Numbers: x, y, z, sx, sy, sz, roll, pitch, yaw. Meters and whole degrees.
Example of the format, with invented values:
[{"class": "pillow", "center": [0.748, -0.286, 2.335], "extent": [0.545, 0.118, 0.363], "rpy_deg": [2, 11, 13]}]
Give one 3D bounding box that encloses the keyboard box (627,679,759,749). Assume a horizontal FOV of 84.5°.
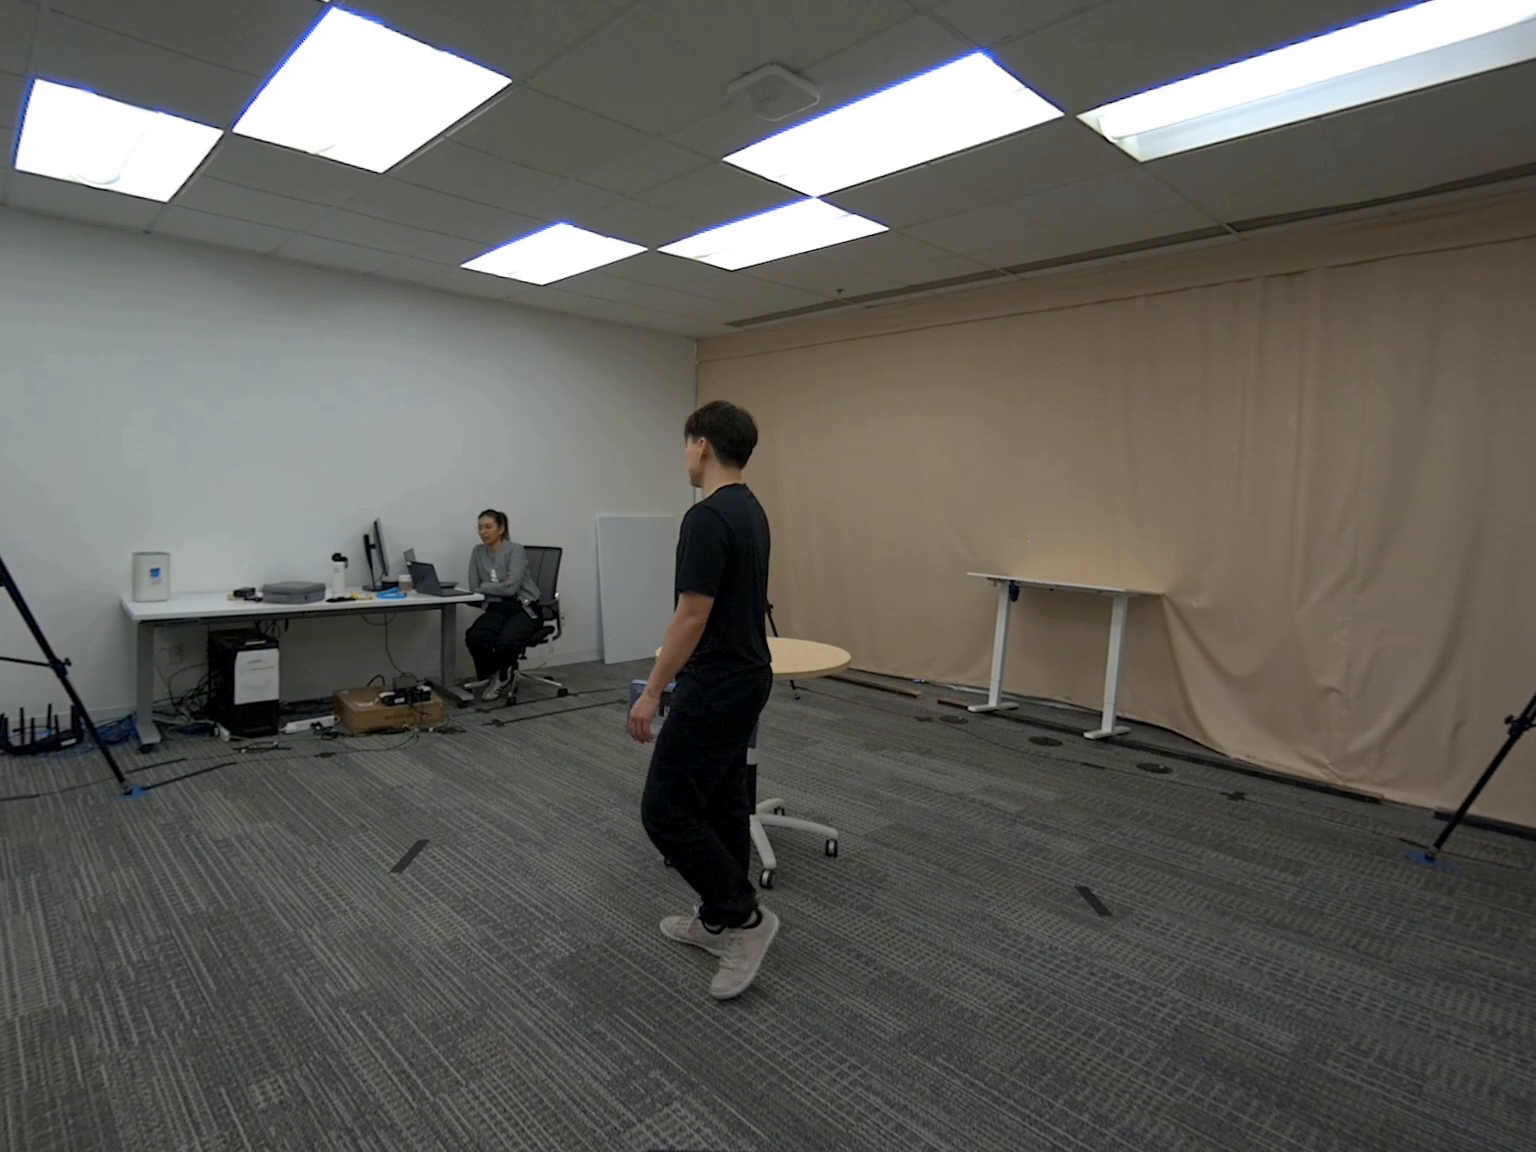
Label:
[{"class": "keyboard box", "center": [-0.258, 0.464, 2.804], "extent": [0.438, 0.175, 0.059], "rpy_deg": [6, 3, 4]}]
